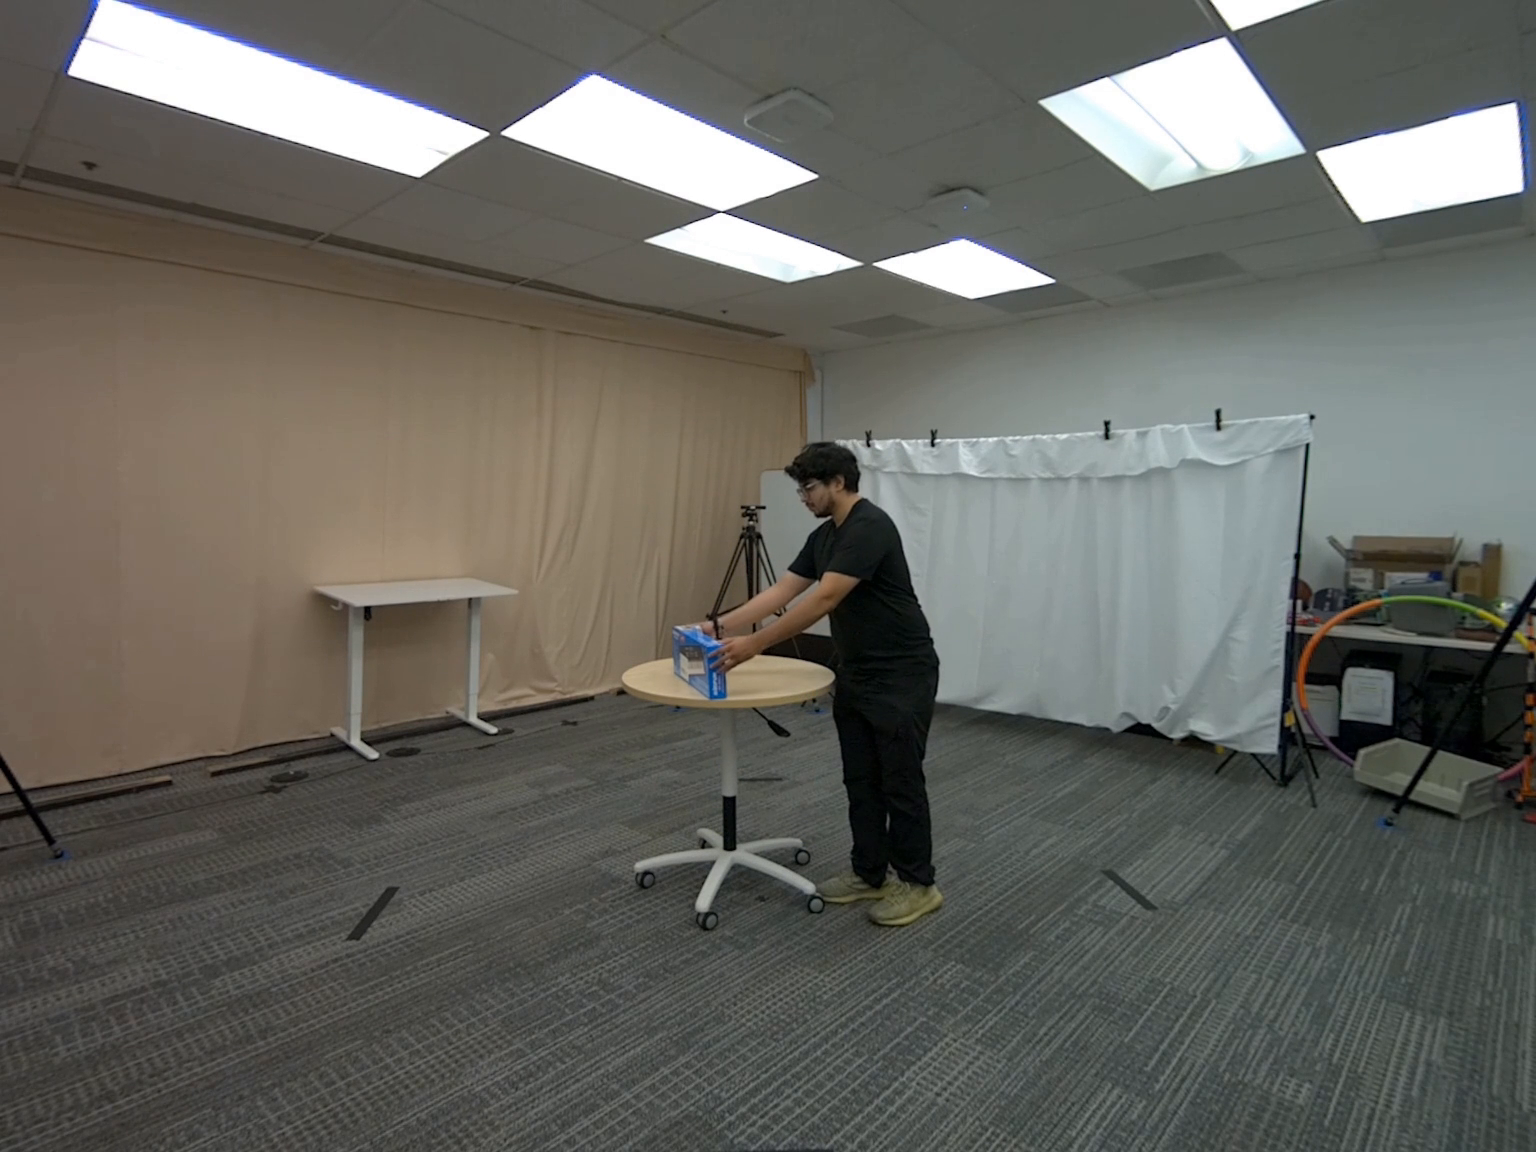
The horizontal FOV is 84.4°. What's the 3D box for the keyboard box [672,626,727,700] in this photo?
[{"bbox_3d":[-0.227,0.292,2.874,0.058,0.175,0.447,-3,5,-21],"label":"keyboard box"}]
